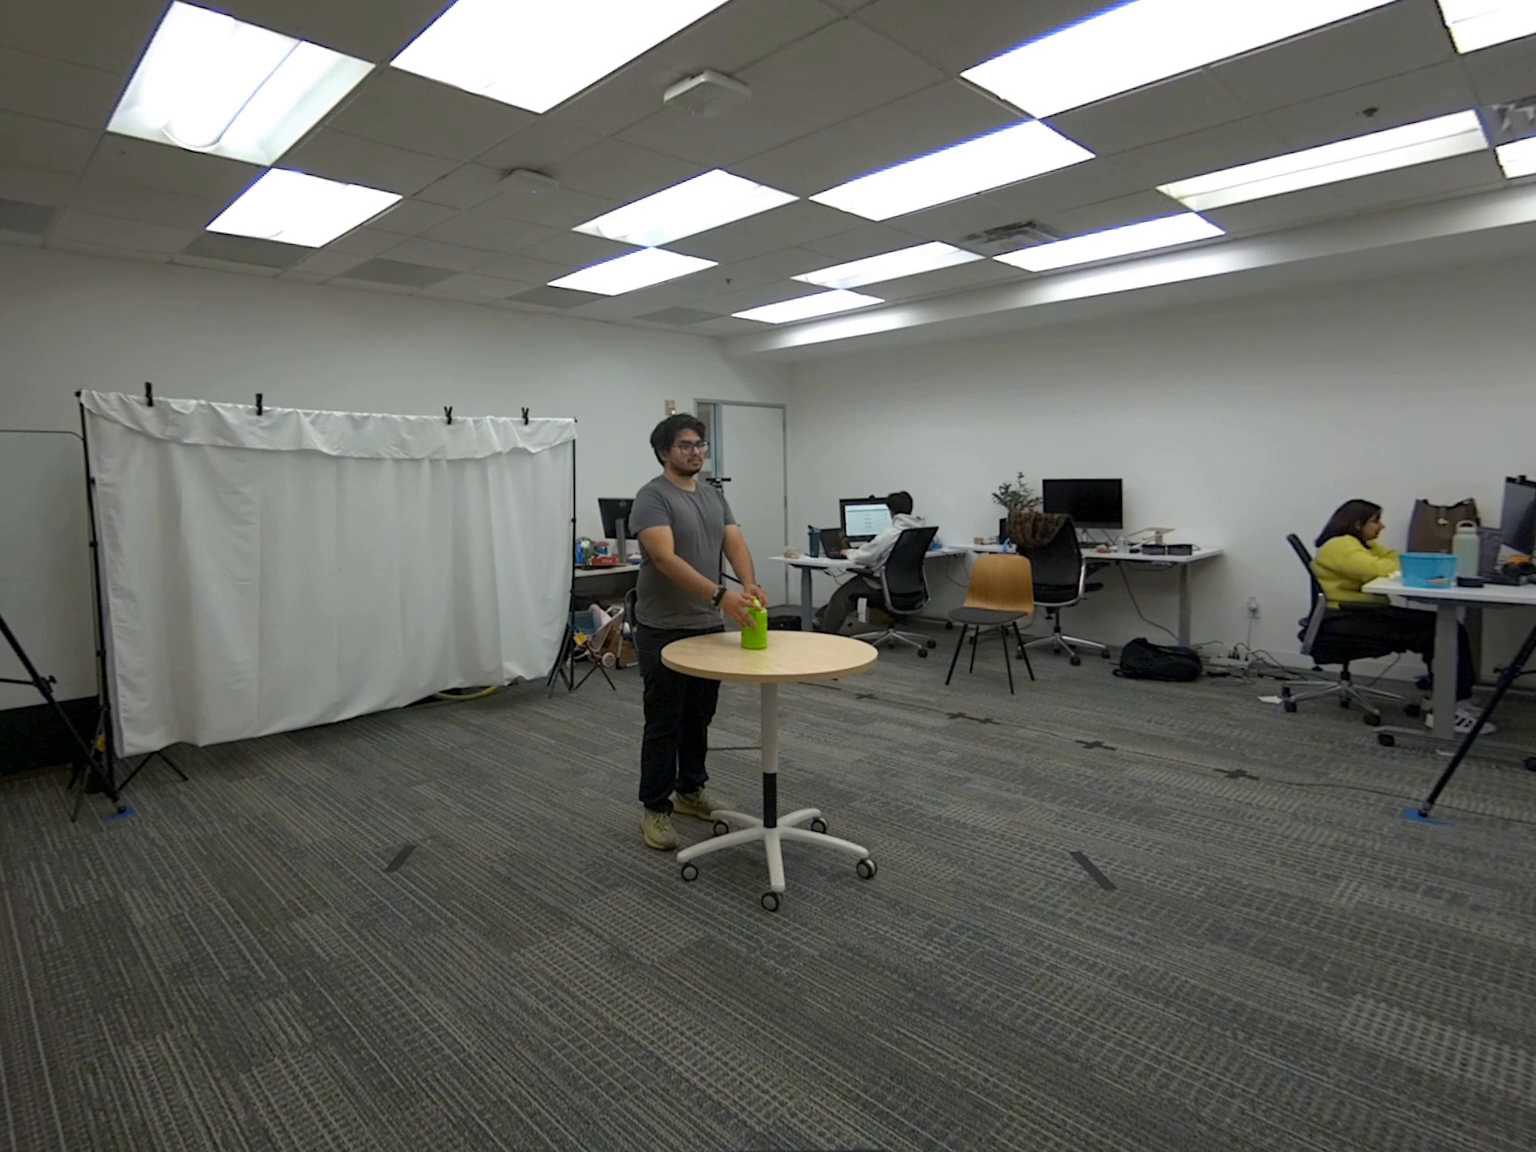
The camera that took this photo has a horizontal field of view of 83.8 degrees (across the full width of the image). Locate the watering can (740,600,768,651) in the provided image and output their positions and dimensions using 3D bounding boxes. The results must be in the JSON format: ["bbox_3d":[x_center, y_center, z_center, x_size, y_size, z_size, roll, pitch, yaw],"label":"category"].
[{"bbox_3d":[-0.045,0.171,3.155,0.098,0.176,0.278,0,6,2],"label":"watering can"}]
